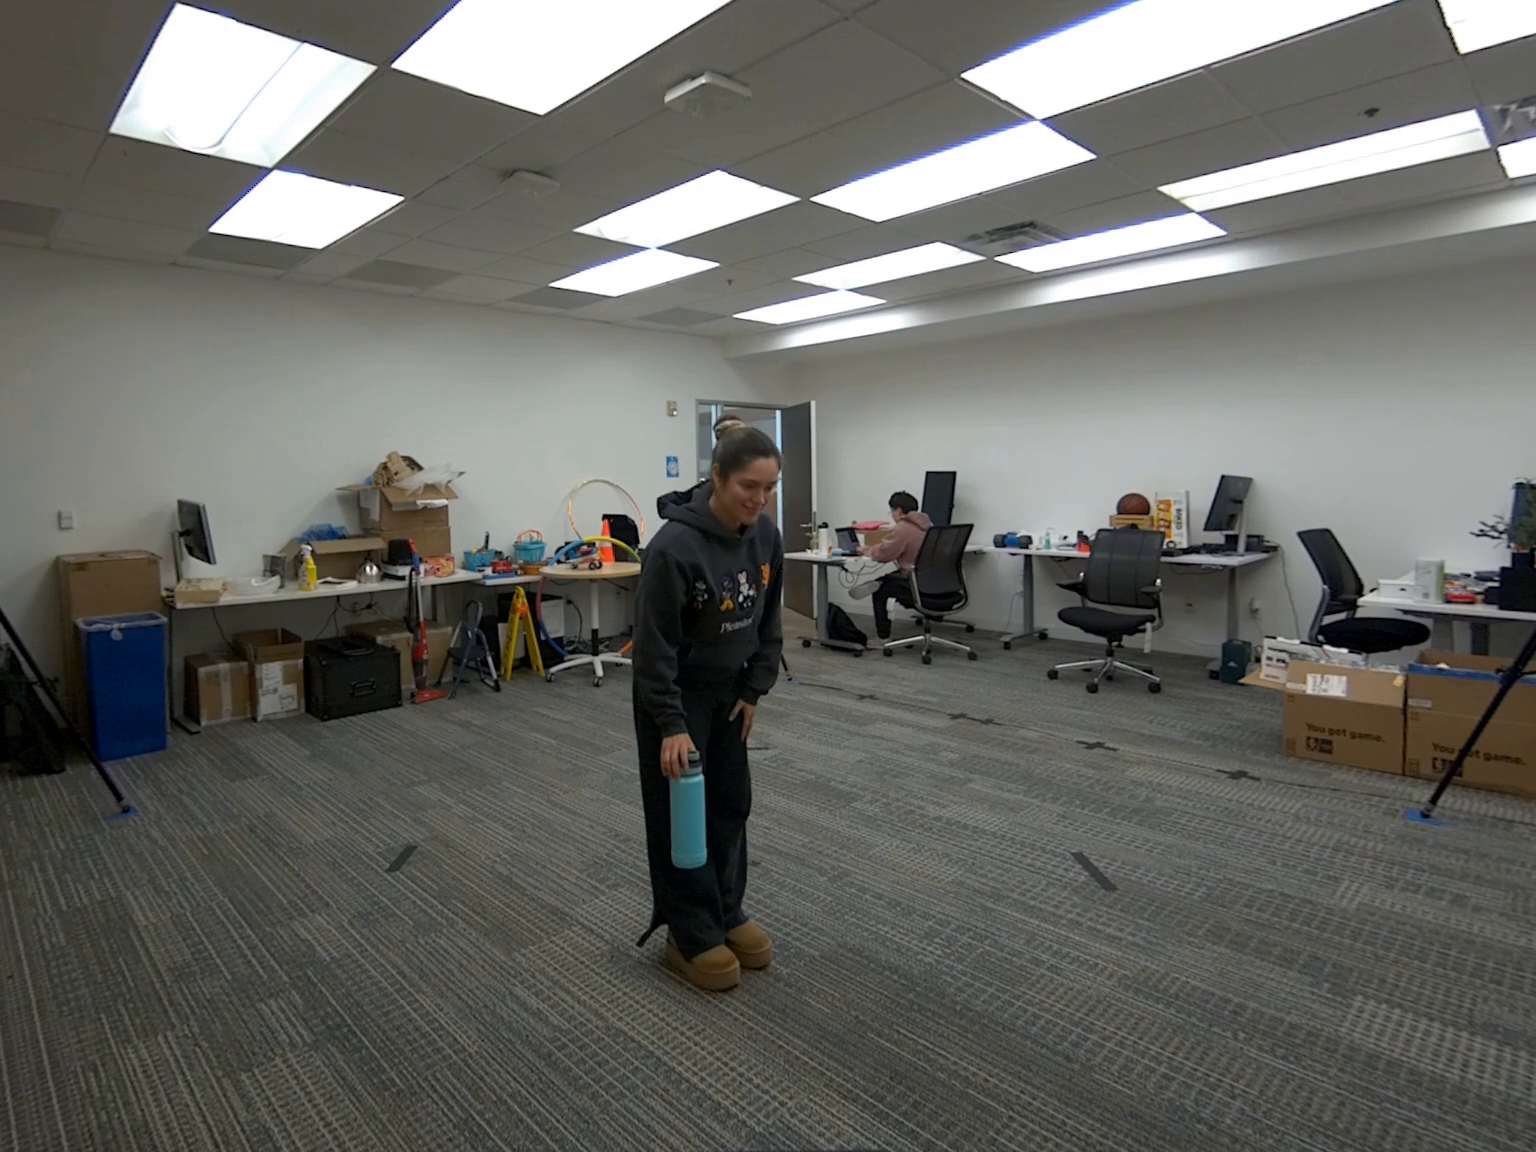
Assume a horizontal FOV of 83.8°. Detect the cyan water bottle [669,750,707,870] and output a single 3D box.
[{"bbox_3d":[-0.208,0.605,2.177,0.092,0.283,0.092,0,0,-2],"label":"cyan water bottle"}]
